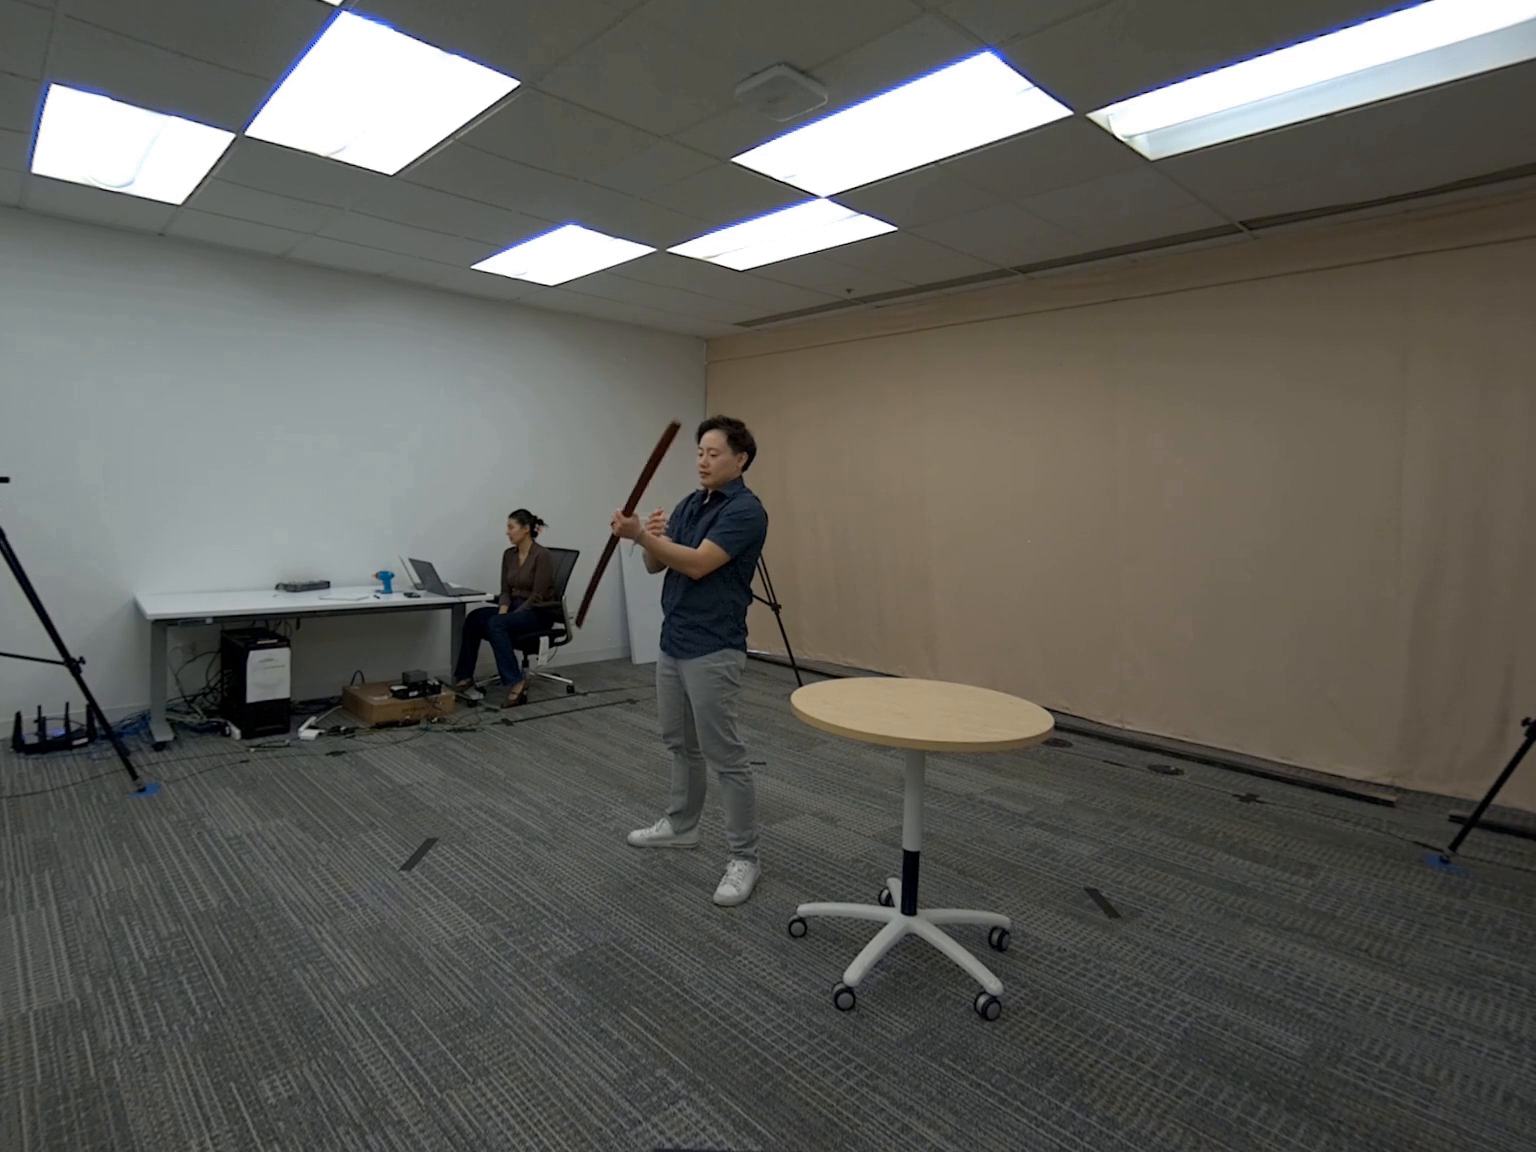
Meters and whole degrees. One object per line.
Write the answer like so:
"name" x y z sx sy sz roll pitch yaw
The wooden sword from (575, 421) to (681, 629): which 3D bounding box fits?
"wooden sword" -0.500 -0.148 2.810 0.050 1.018 0.025 11 43 -27
